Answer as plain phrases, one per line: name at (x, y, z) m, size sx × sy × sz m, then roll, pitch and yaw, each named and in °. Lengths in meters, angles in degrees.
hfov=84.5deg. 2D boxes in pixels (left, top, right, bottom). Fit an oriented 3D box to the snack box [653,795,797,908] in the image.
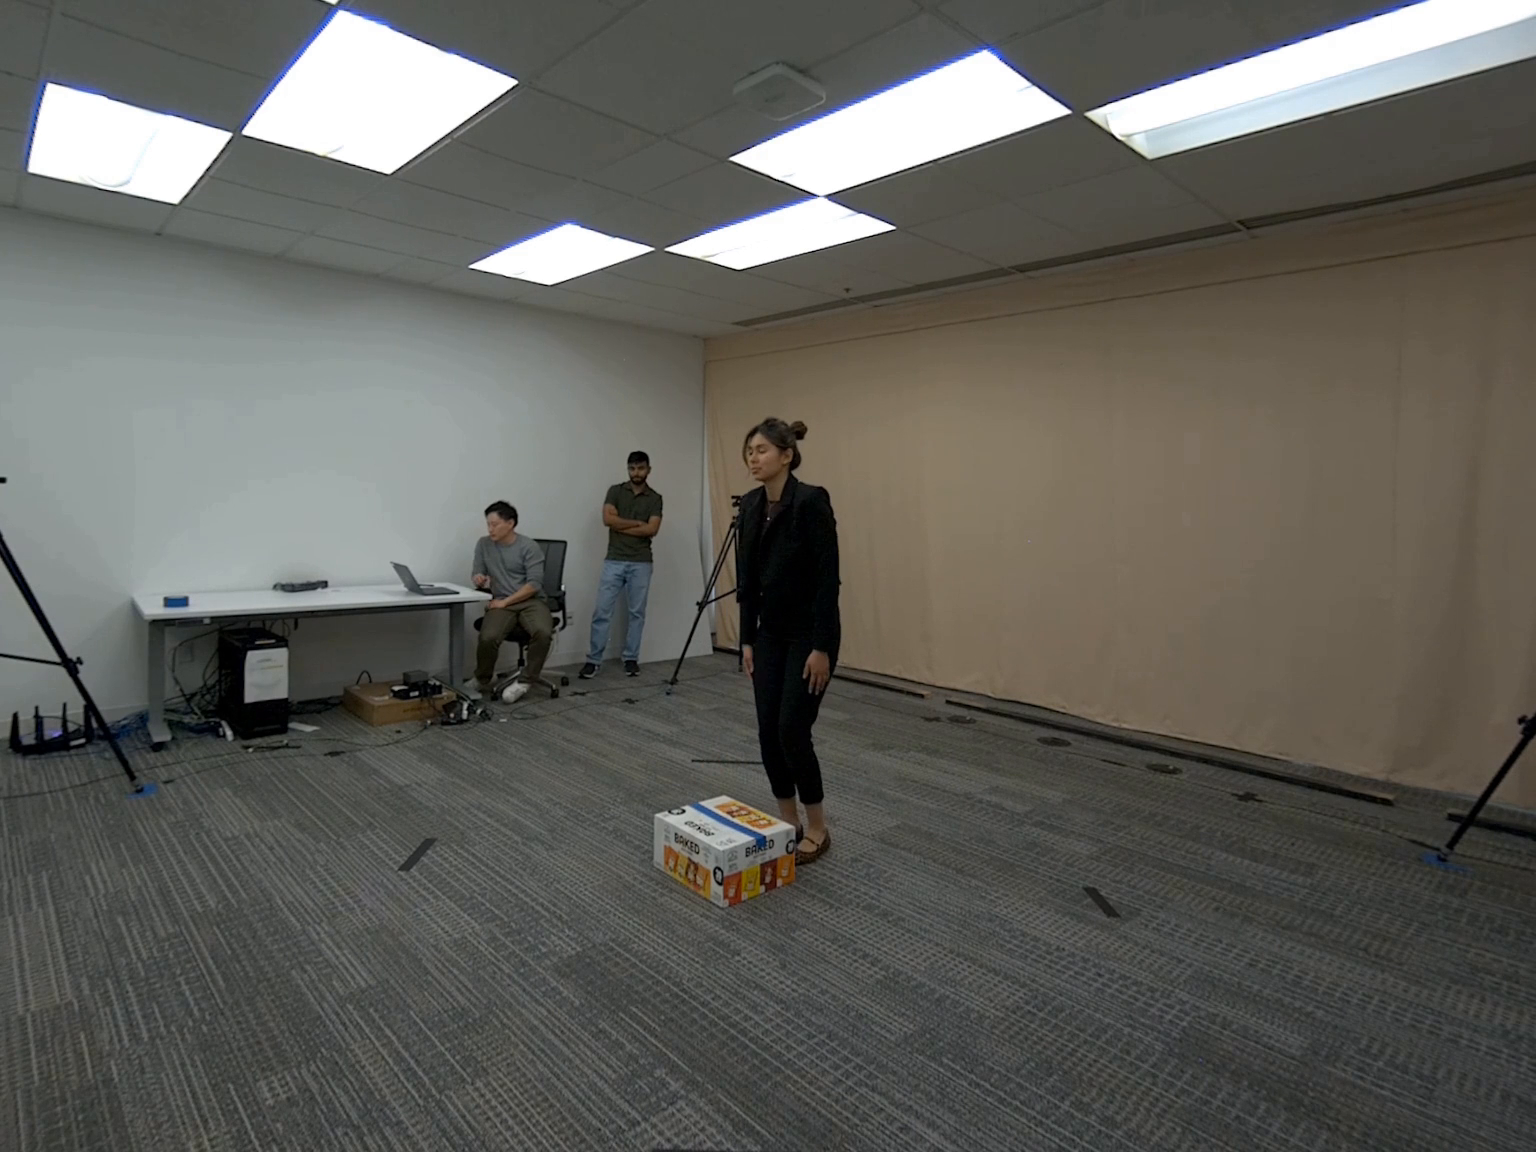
snack box at (-0.172, 1.001, 3.091) m, size 0.332 × 0.205 × 0.415 m, roll -3°, pitch 6°, yaw -41°
